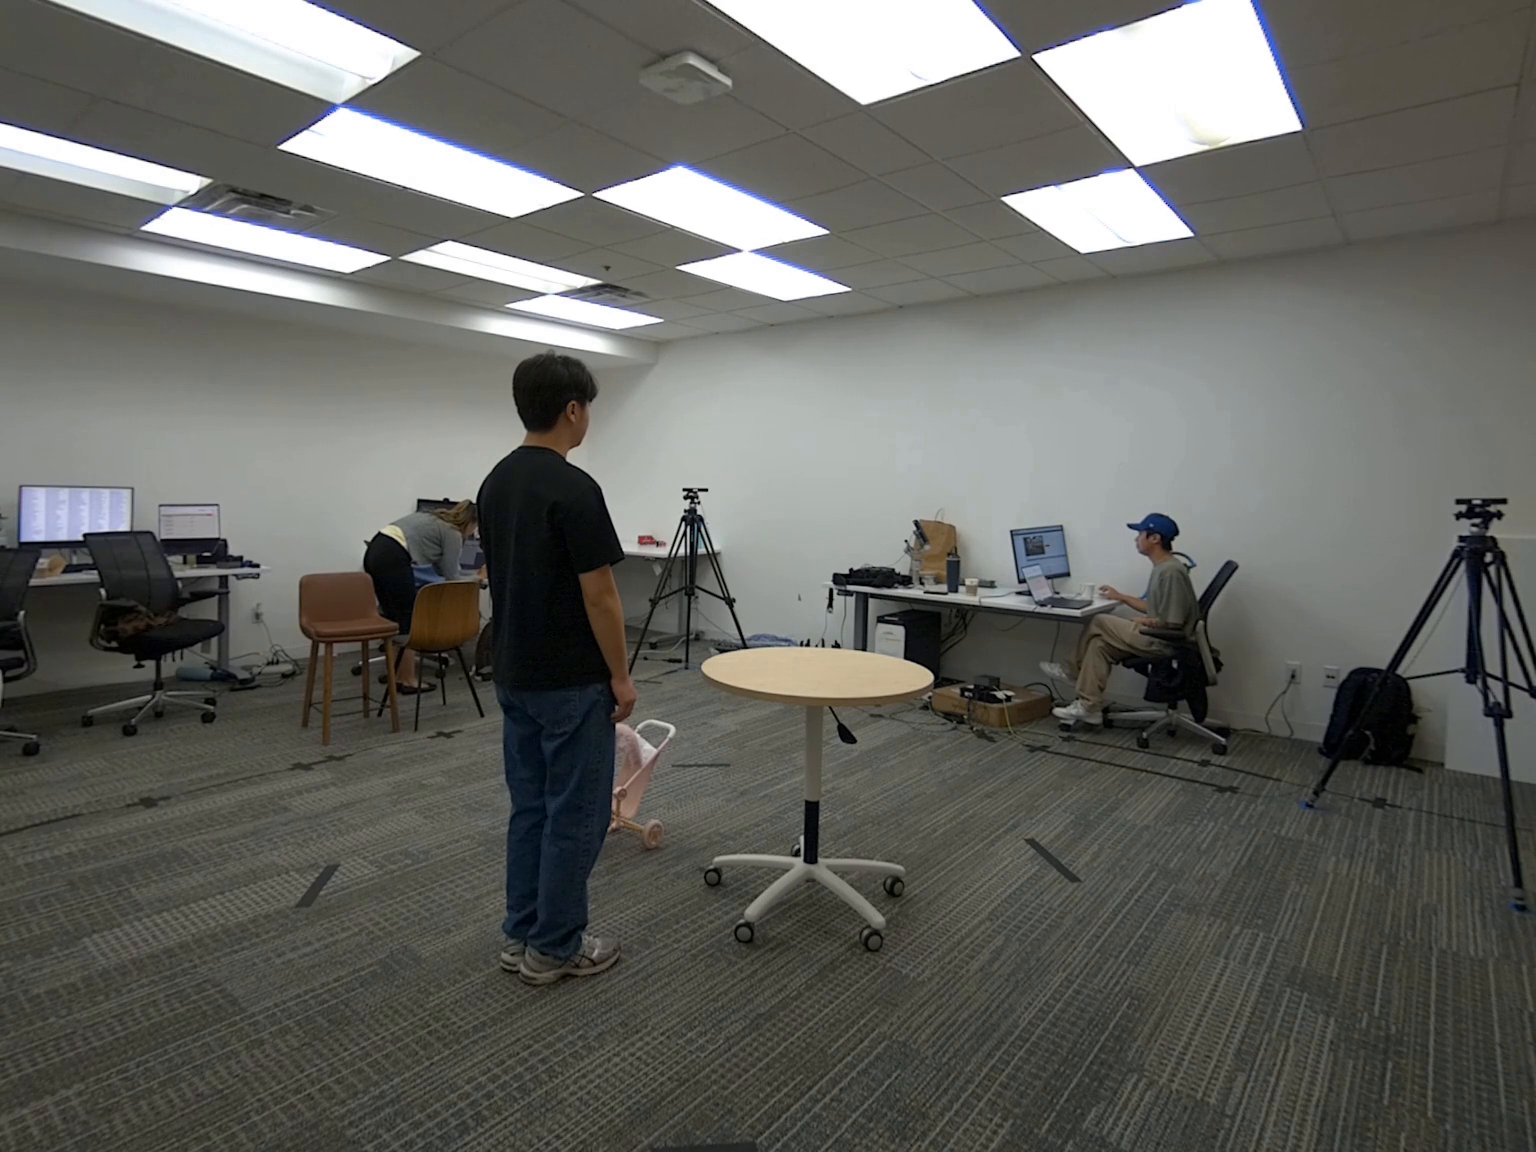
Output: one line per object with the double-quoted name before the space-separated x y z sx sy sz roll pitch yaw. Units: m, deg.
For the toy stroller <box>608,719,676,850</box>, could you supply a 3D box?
"toy stroller" -0.591 0.817 3.321 0.291 0.538 0.328 5 -10 46
